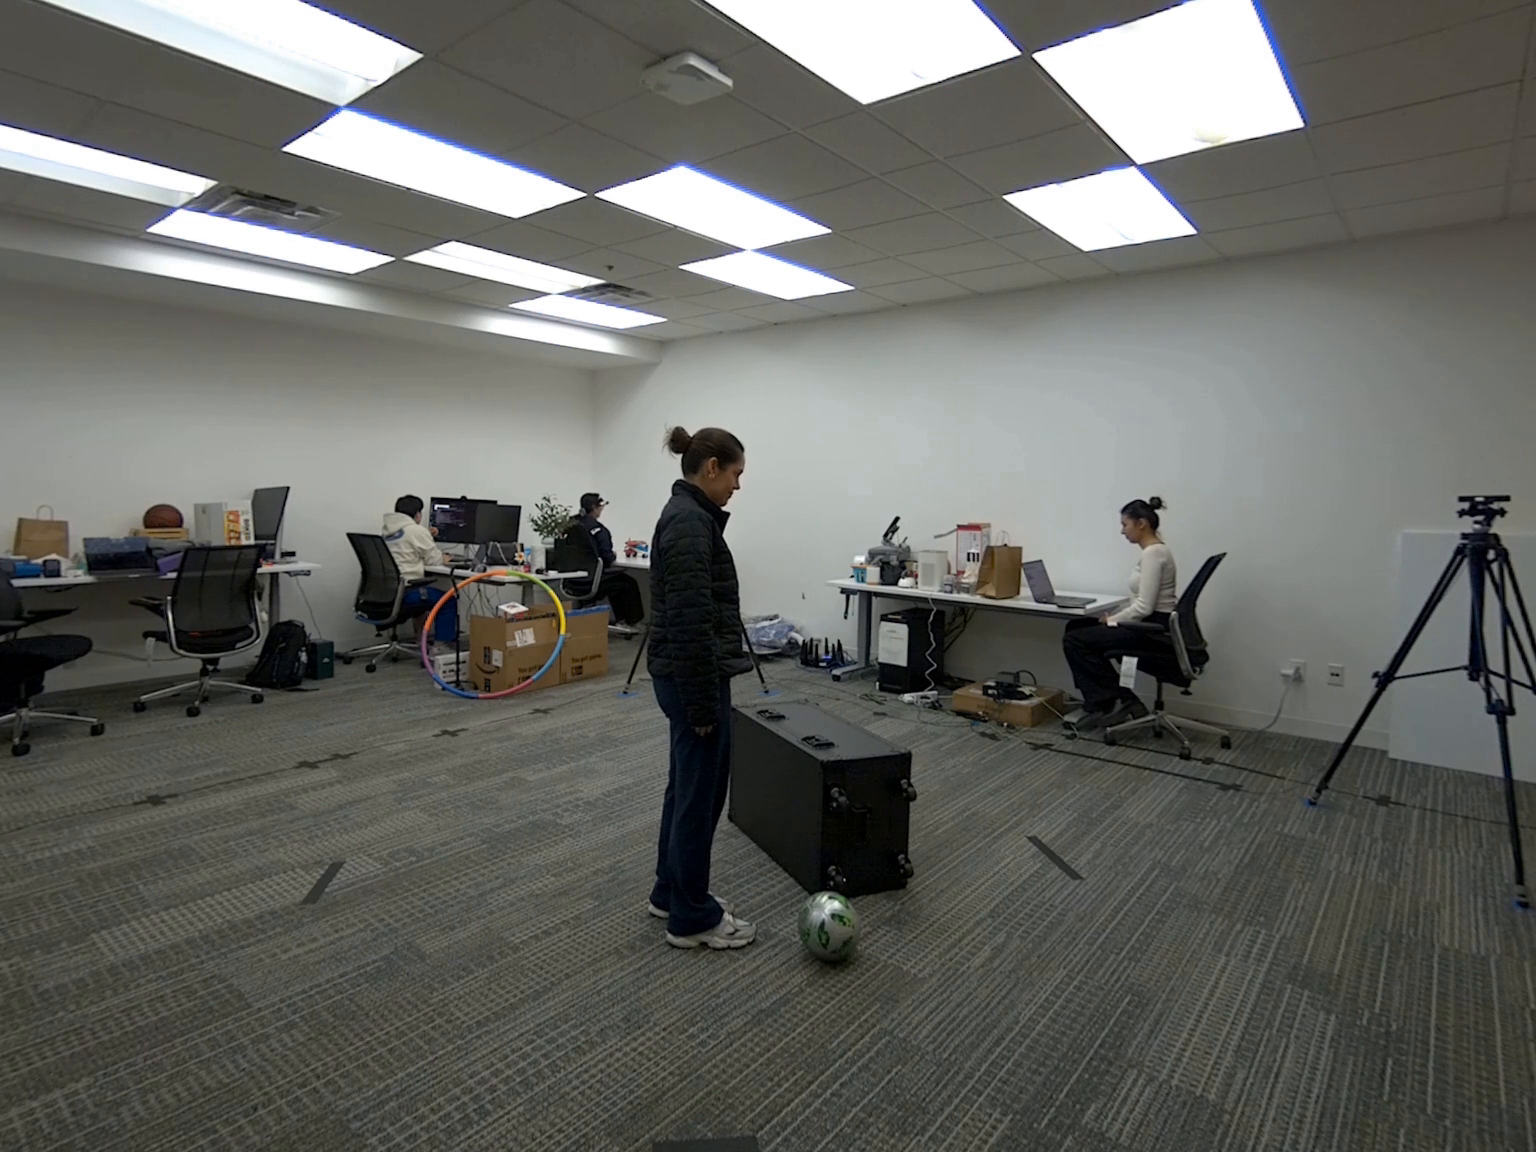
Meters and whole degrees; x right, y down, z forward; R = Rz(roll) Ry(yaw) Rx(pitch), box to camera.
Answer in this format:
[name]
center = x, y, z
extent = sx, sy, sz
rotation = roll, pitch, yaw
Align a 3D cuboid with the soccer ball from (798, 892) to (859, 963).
[soccer ball]
center = 0.178, 1.042, 2.529
extent = 0.187, 0.187, 0.188
rotation = 1, 4, -2
